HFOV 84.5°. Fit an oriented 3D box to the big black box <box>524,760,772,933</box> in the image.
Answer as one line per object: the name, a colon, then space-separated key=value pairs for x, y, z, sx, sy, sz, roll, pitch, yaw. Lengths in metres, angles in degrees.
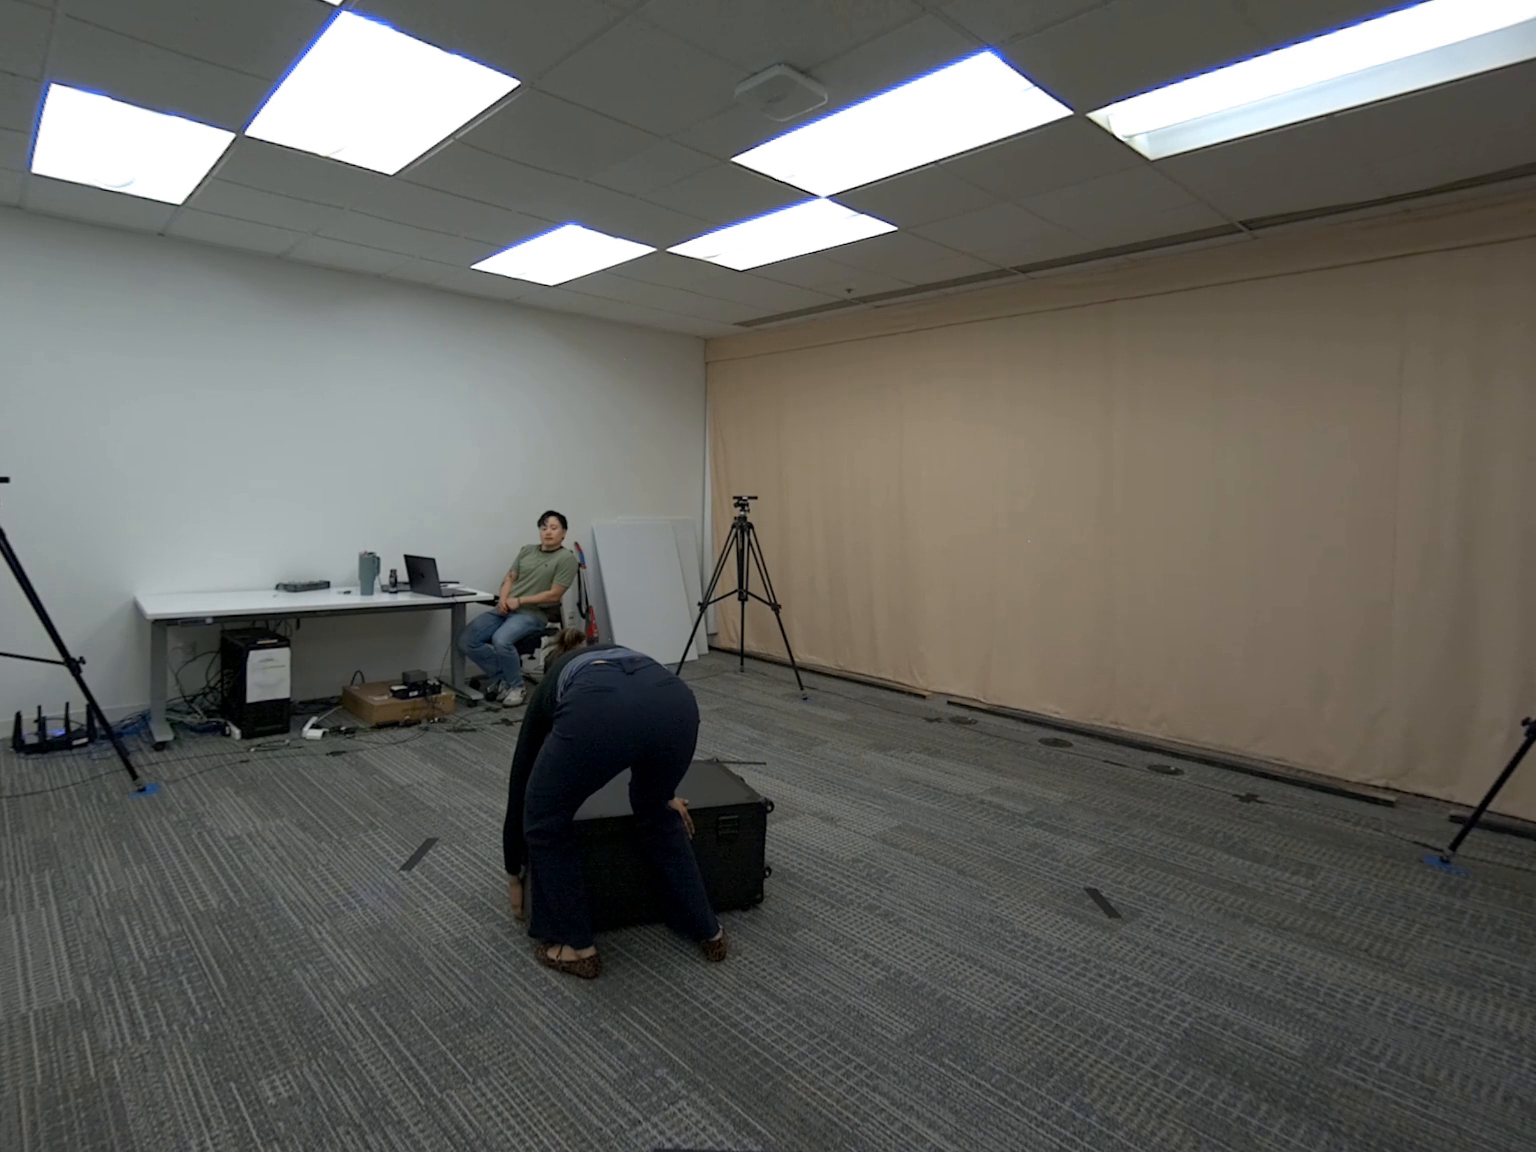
big black box: x=-0.485 y=0.920 z=2.910 sx=0.847 sy=0.395 sz=0.531 roll=1 pitch=4 yaw=-23
